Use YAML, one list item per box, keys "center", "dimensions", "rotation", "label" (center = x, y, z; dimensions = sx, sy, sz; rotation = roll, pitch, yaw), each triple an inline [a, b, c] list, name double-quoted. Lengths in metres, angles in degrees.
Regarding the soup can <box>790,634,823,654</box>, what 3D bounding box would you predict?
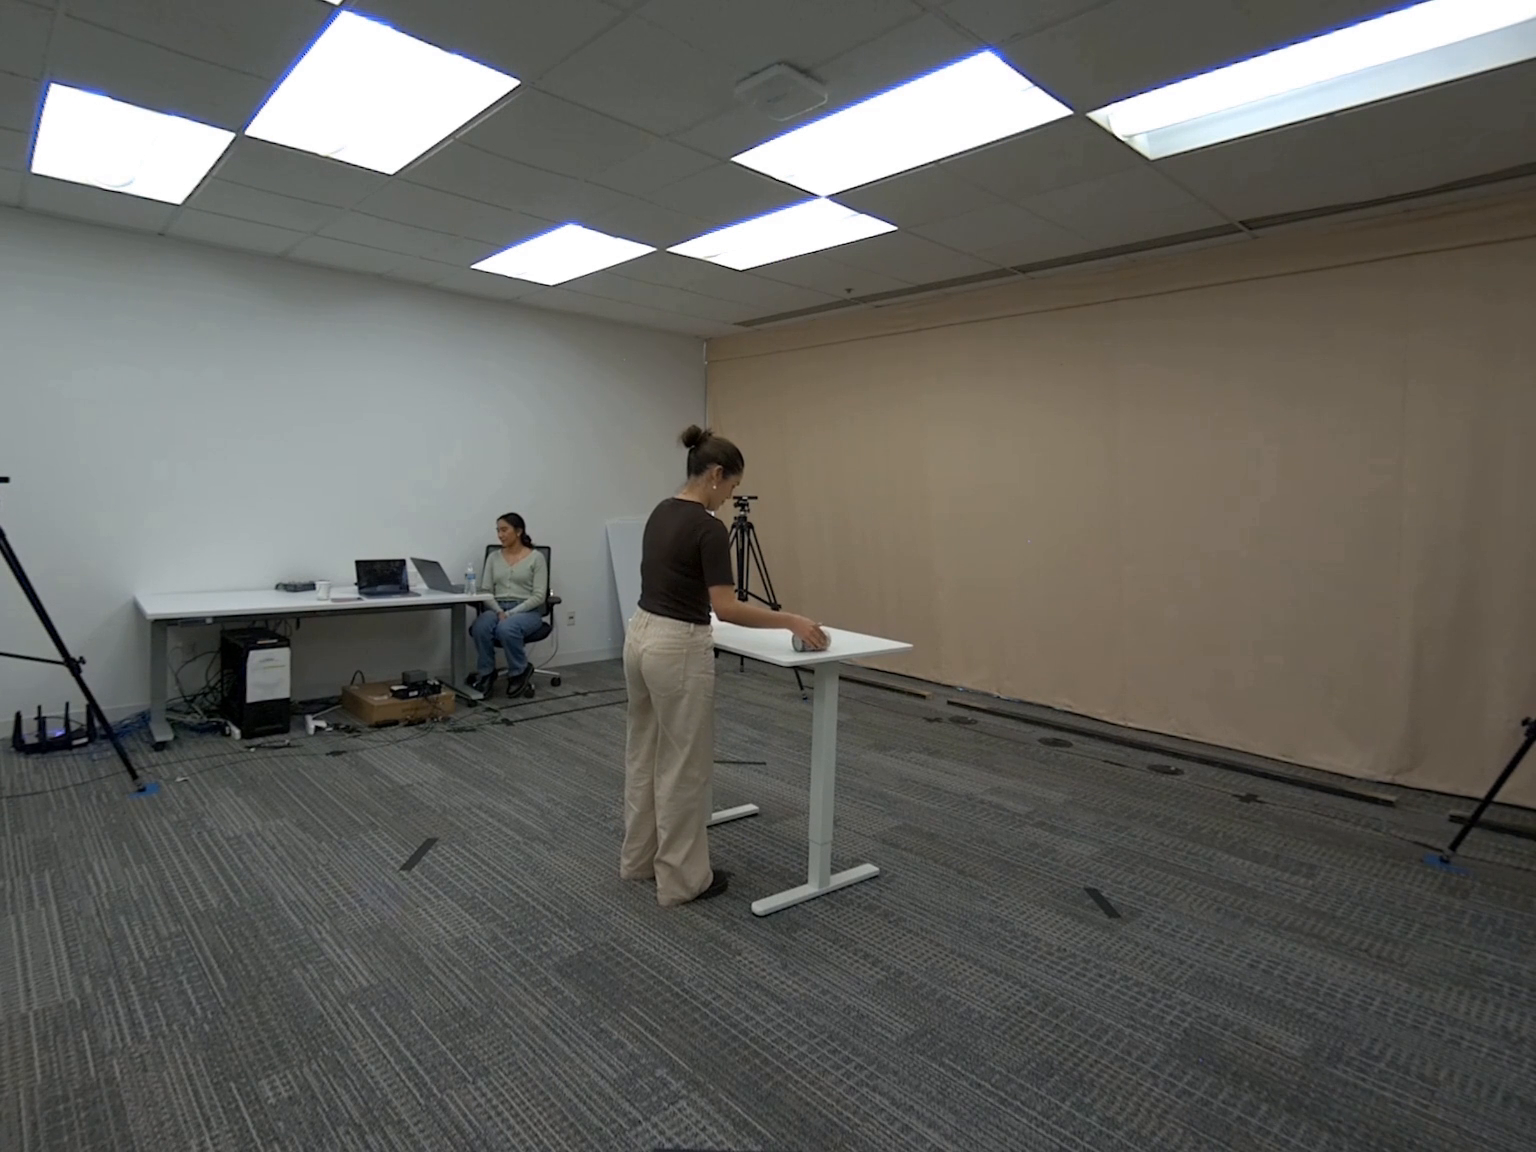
- center: [0.138, 0.215, 2.858]
  dimensions: [0.121, 0.067, 0.067]
  rotation: [4, 4, -4]
  label: "soup can"
